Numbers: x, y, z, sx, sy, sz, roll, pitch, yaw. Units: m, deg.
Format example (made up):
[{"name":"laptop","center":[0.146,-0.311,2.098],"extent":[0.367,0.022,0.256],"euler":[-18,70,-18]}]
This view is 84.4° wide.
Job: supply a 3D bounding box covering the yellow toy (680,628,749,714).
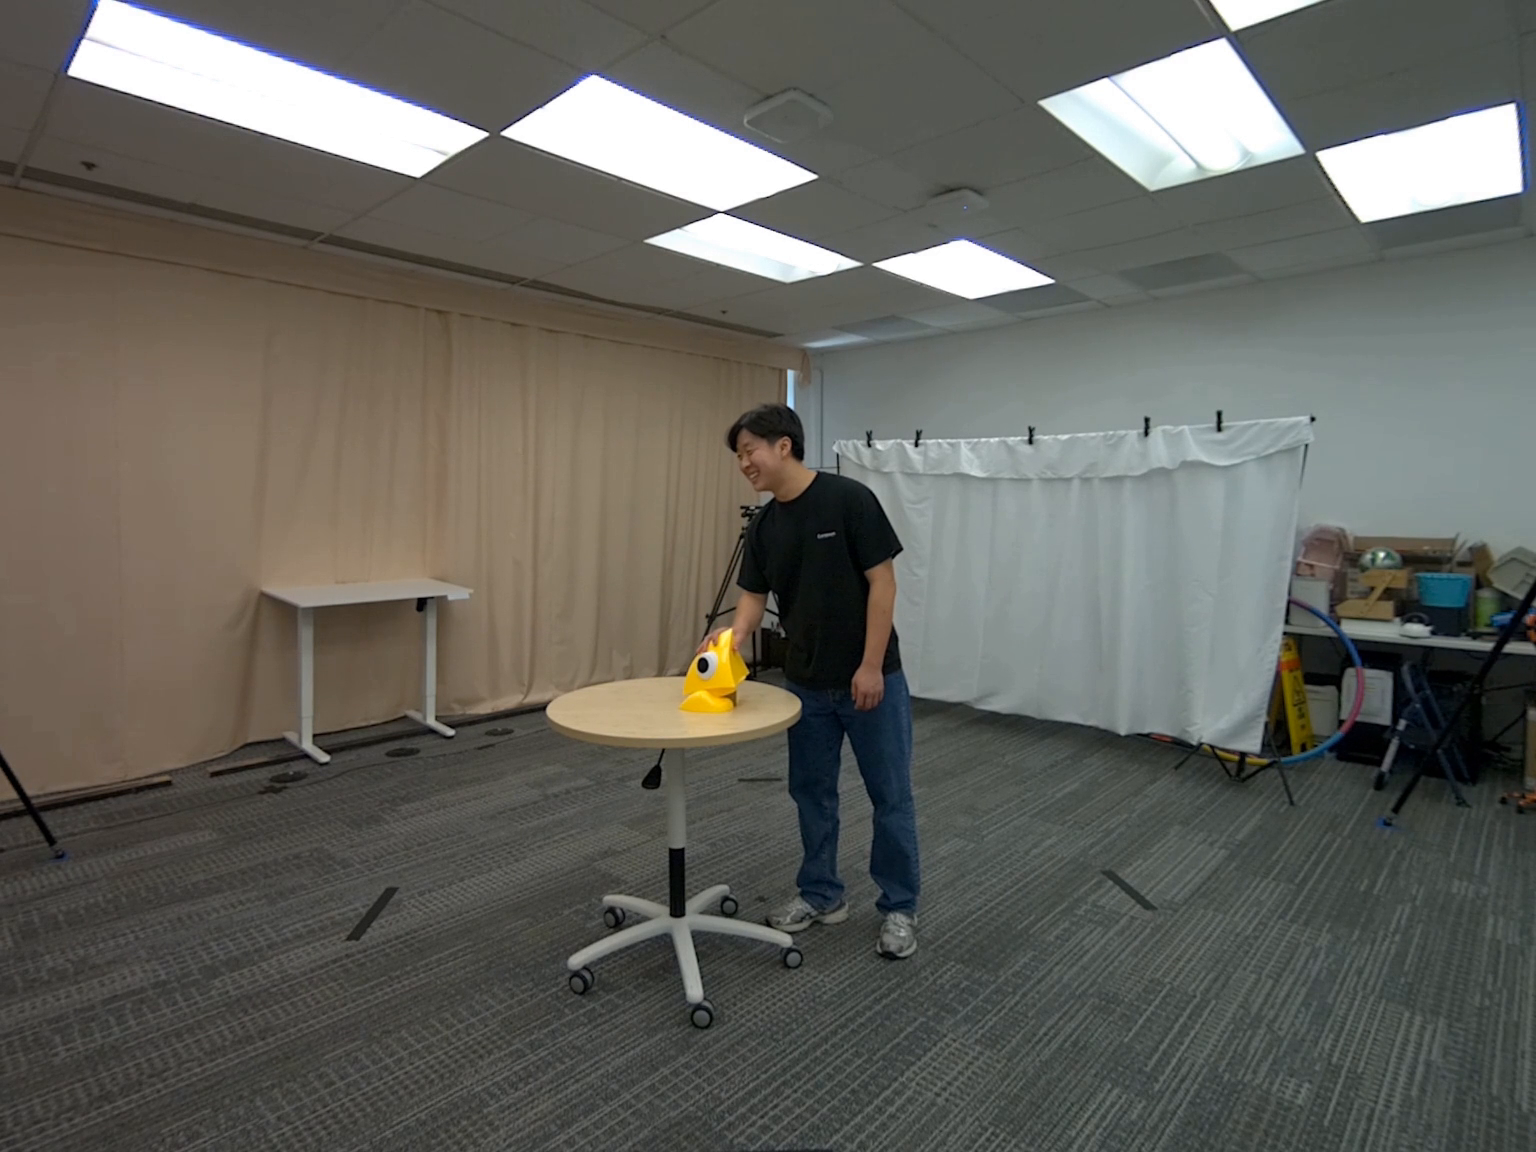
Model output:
[{"name":"yellow toy","center":[-0.166,0.274,2.518],"extent":[0.196,0.230,0.202],"euler":[0,4,13]}]
